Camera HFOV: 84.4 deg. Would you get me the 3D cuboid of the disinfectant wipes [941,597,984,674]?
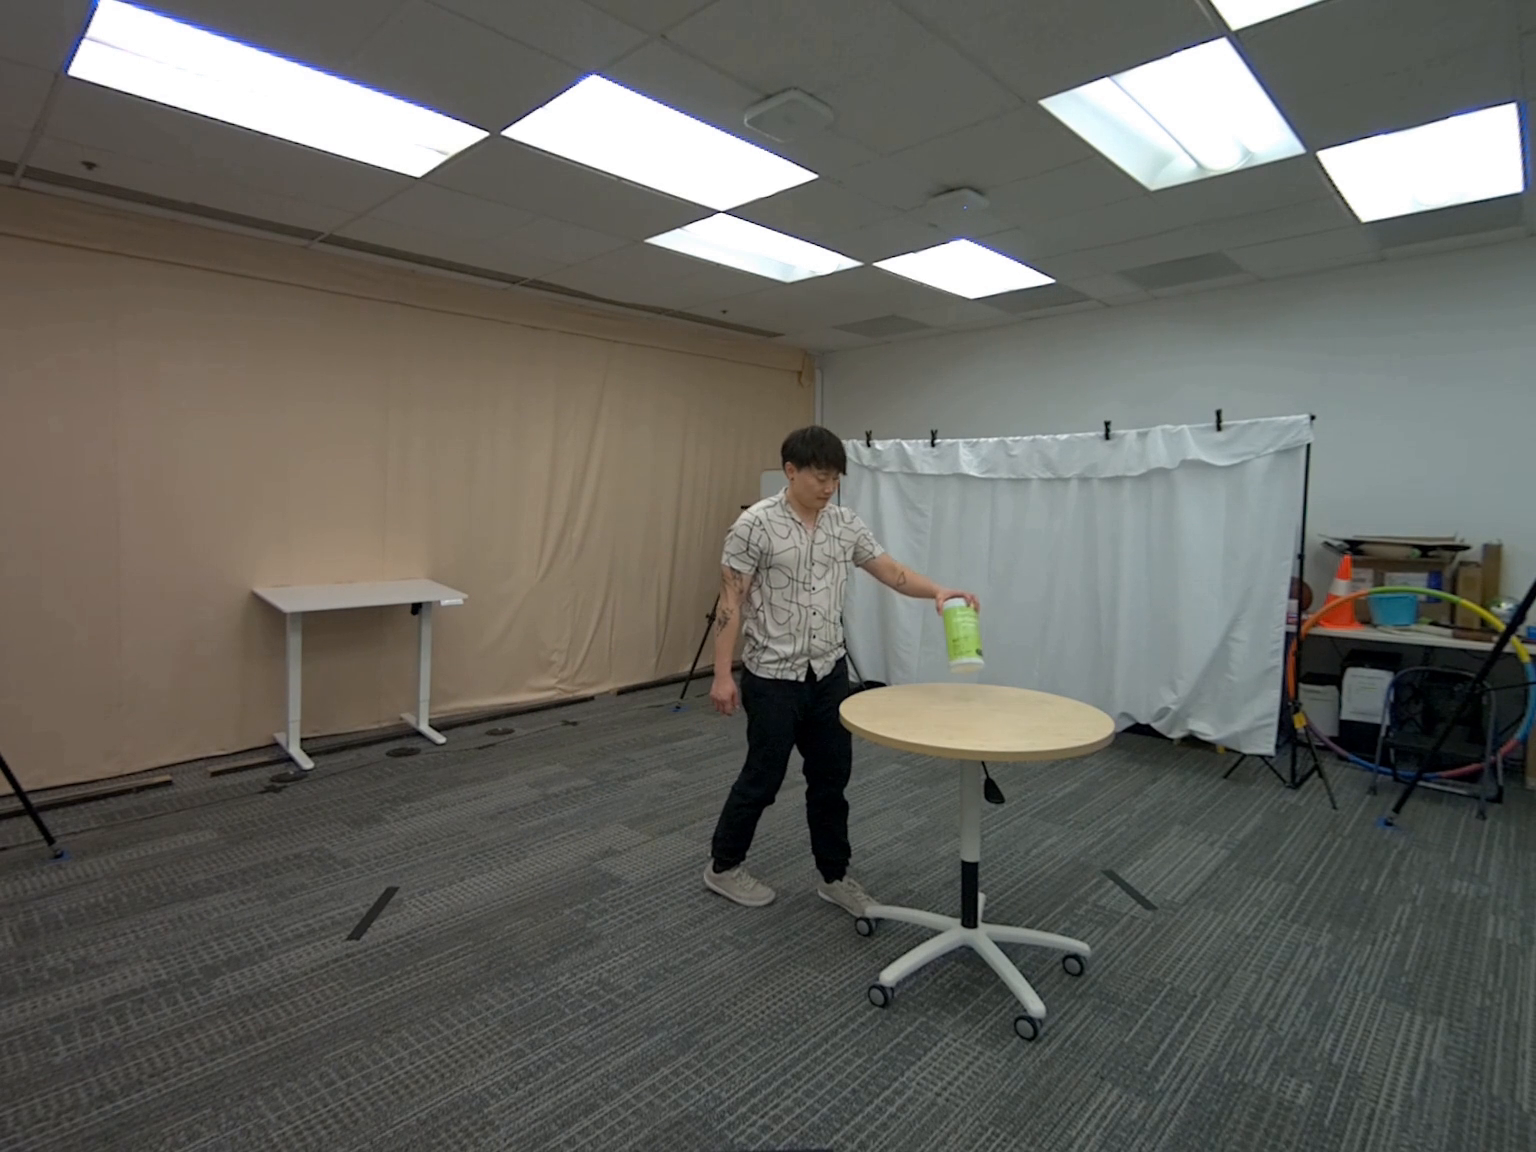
[{"bbox_3d":[0.608,0.191,2.620,0.117,0.220,0.116,-1,-23,-2],"label":"disinfectant wipes"}]
